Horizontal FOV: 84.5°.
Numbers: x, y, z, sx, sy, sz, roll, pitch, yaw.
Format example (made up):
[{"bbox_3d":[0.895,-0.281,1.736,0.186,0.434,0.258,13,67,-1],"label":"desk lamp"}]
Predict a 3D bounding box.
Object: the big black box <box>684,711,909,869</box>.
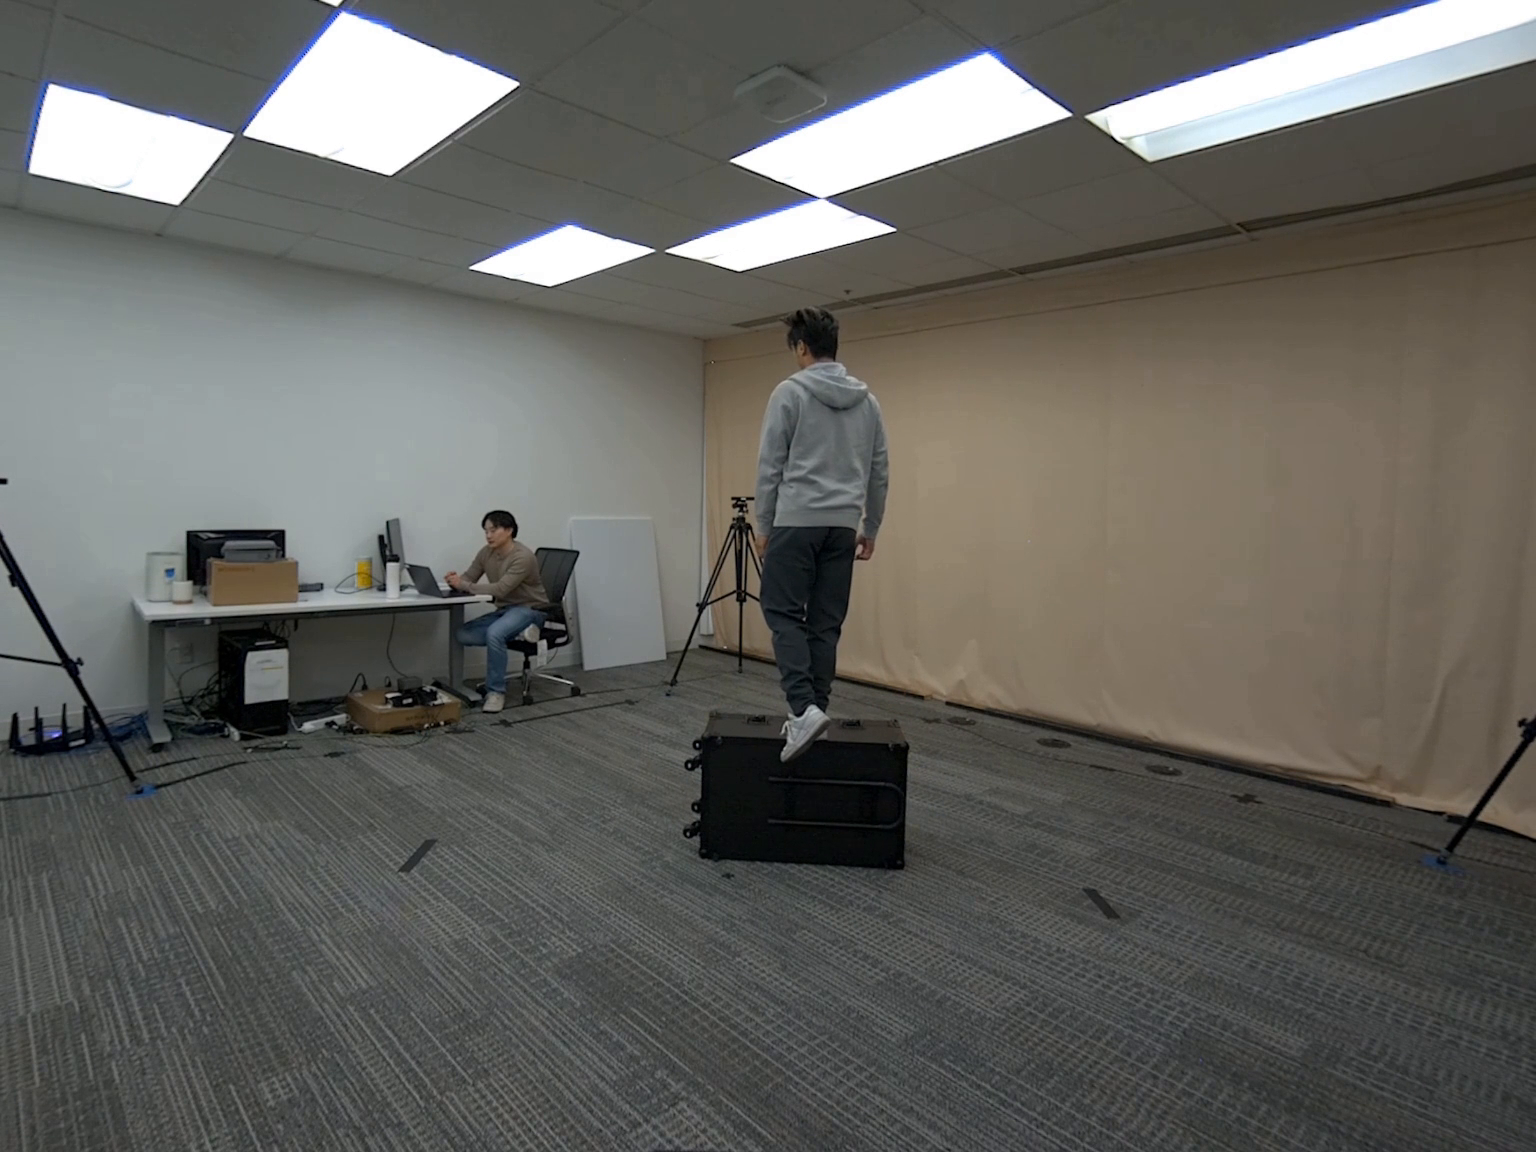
[{"bbox_3d":[0.098,0.847,3.370,0.865,0.520,0.396,2,4,4],"label":"big black box"}]
